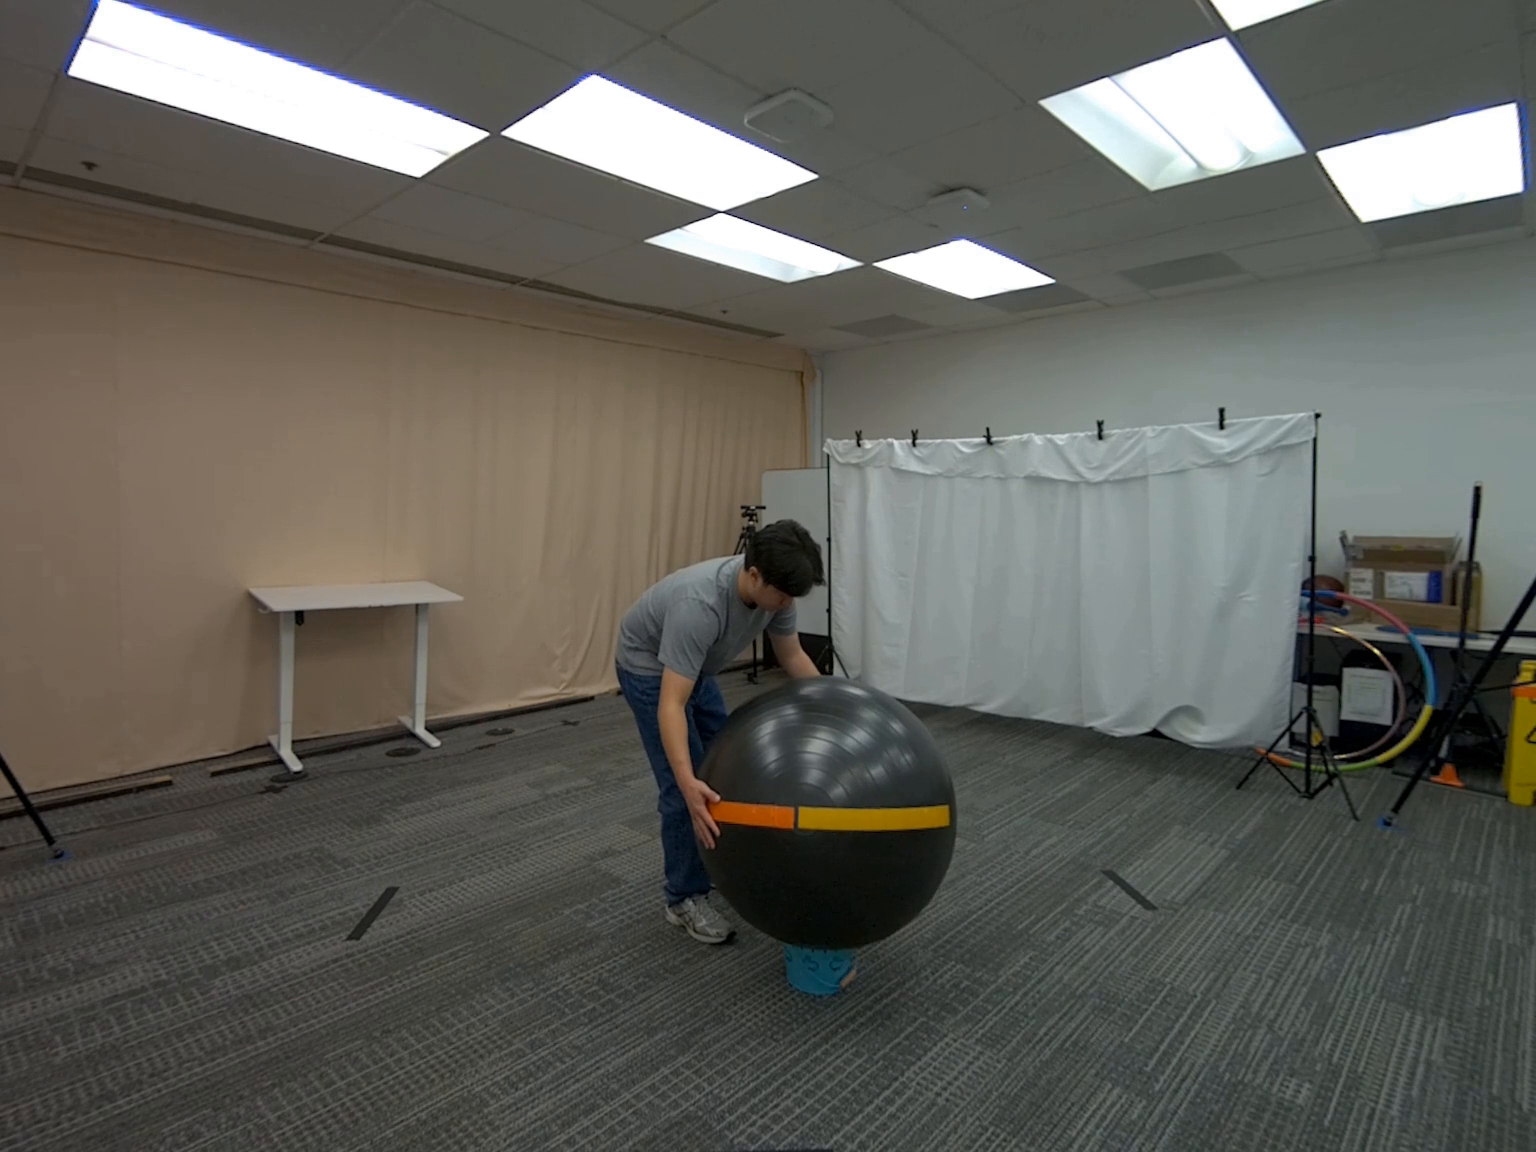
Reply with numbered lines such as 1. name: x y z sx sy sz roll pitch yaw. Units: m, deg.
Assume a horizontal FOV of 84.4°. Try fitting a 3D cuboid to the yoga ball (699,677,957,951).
1. yoga ball: 0.166 0.681 2.451 0.757 0.756 0.760 0 4 -2
